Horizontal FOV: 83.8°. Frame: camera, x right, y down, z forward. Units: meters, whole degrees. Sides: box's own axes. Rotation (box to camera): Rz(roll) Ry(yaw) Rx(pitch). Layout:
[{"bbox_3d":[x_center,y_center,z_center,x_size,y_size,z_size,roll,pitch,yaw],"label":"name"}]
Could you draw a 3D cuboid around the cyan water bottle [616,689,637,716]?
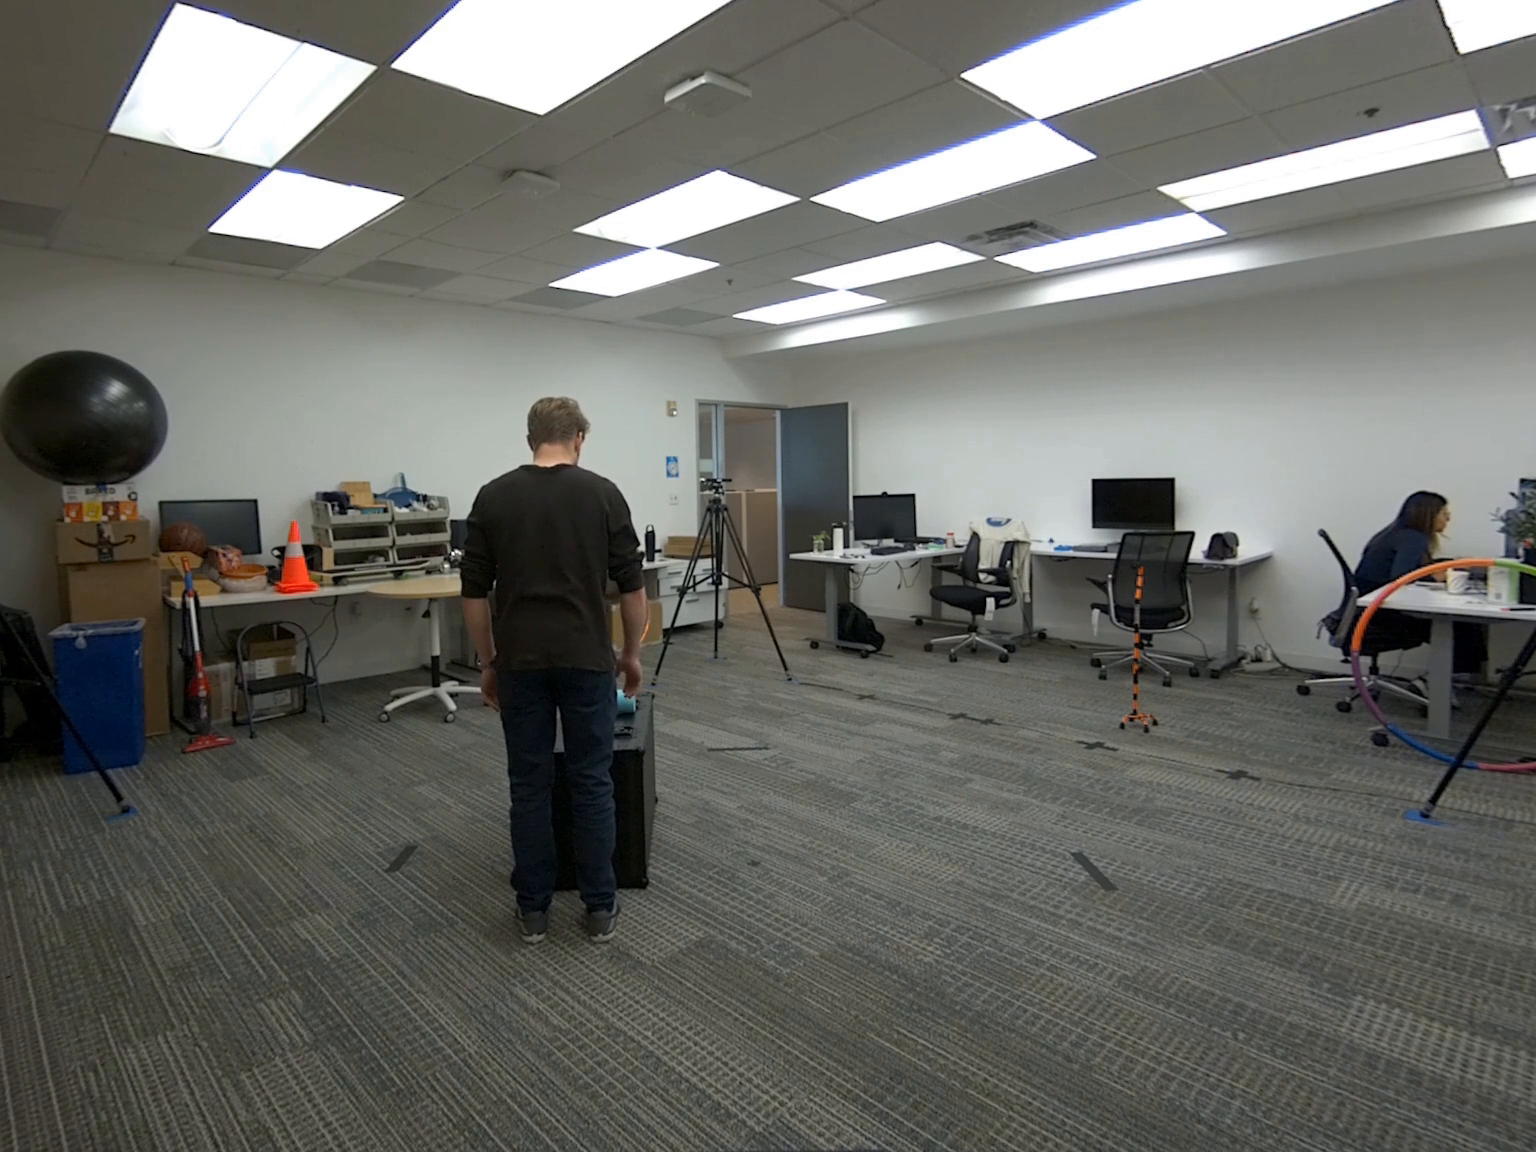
[{"bbox_3d":[-0.665,0.496,3.371,0.283,0.092,0.093,-1,5,-1],"label":"cyan water bottle"}]
